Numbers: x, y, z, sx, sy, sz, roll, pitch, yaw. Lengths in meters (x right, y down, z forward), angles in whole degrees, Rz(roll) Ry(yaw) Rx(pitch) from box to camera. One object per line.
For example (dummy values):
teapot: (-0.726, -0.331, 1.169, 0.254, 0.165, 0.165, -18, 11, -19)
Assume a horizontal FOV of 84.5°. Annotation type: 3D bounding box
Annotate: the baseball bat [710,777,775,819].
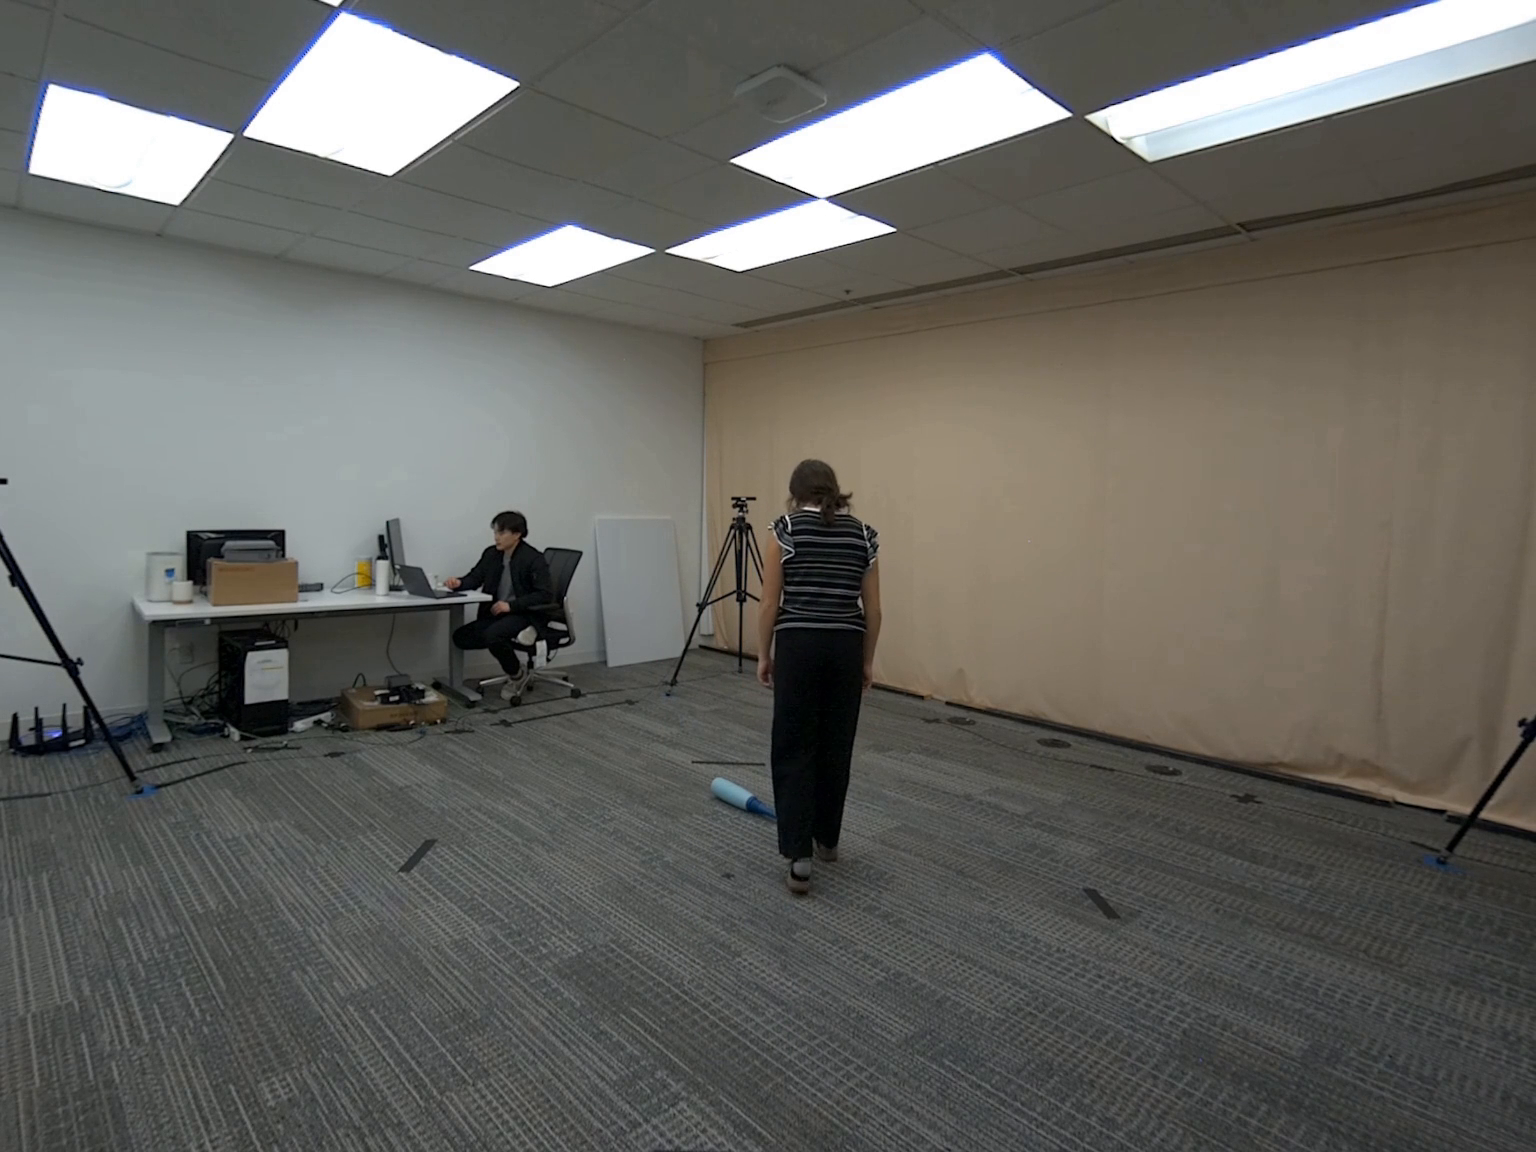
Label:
baseball bat: (-0.066, 1.020, 3.742, 0.087, 0.088, 0.558, -2, 10, -42)
